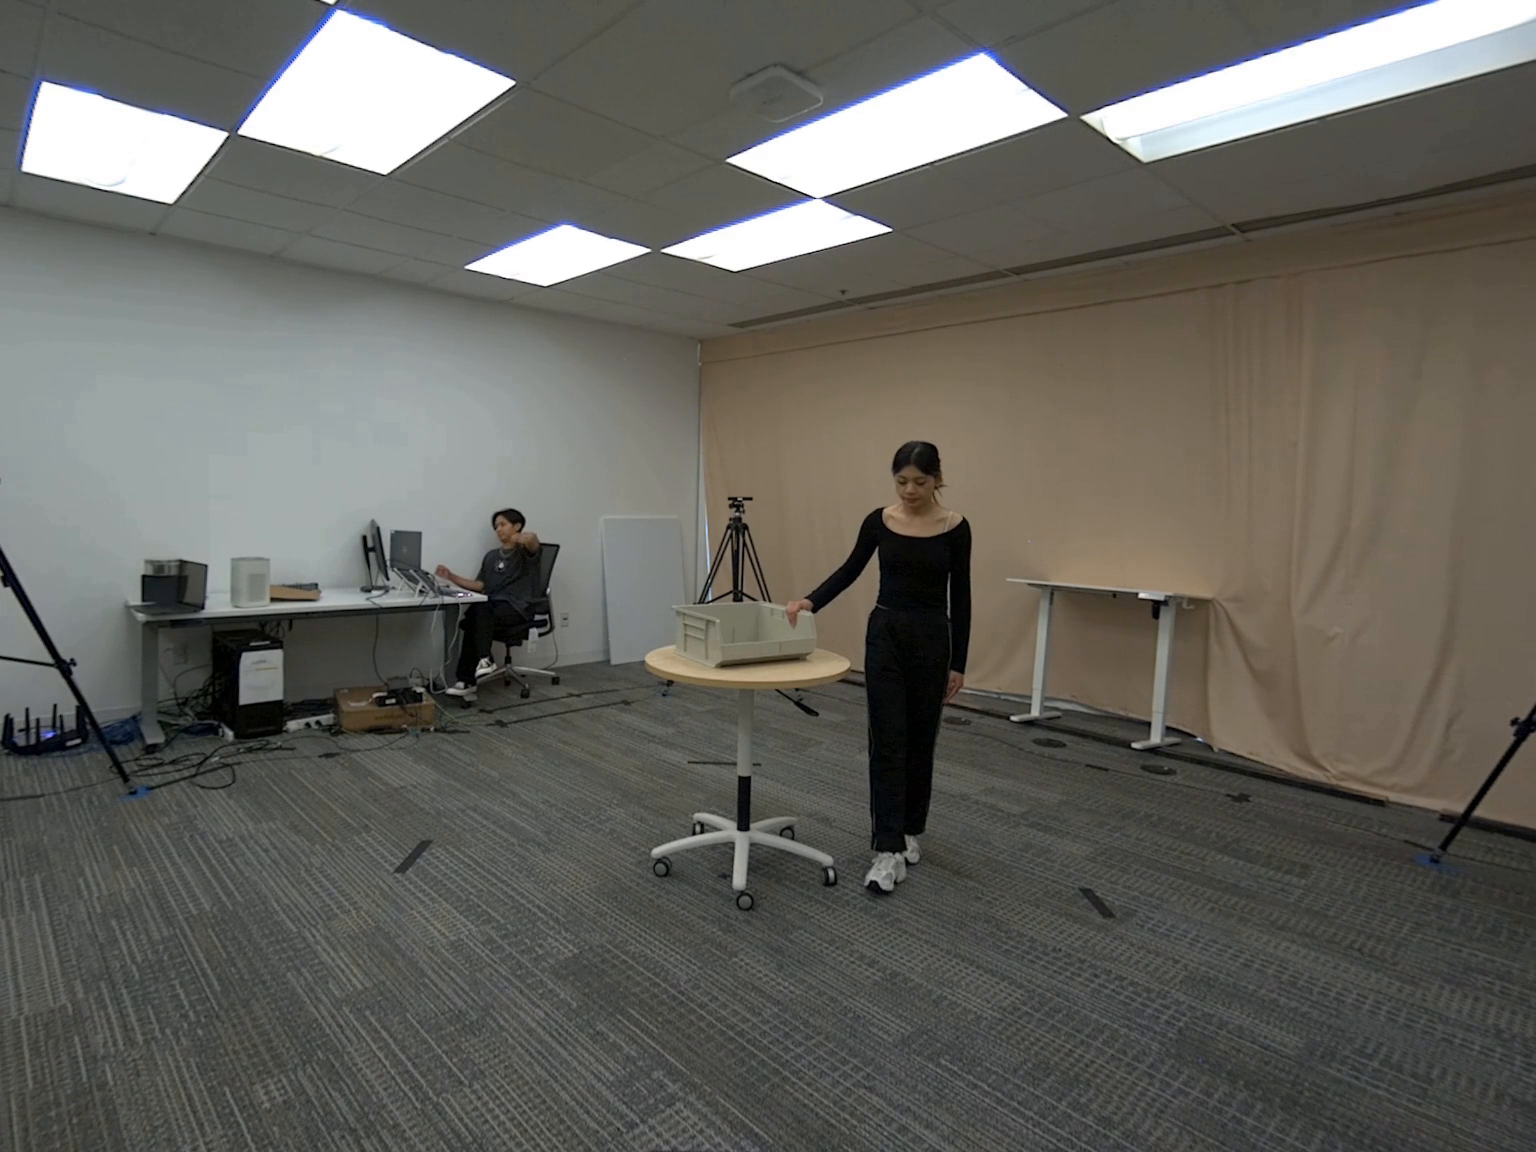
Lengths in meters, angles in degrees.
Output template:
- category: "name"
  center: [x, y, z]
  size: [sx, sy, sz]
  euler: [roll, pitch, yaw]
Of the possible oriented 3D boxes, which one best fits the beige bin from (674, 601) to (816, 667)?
- category: "beige bin"
  center: [-0.099, 0.219, 3.184]
  size: [0.413, 0.188, 0.386]
  euler: [-3, 6, -33]
